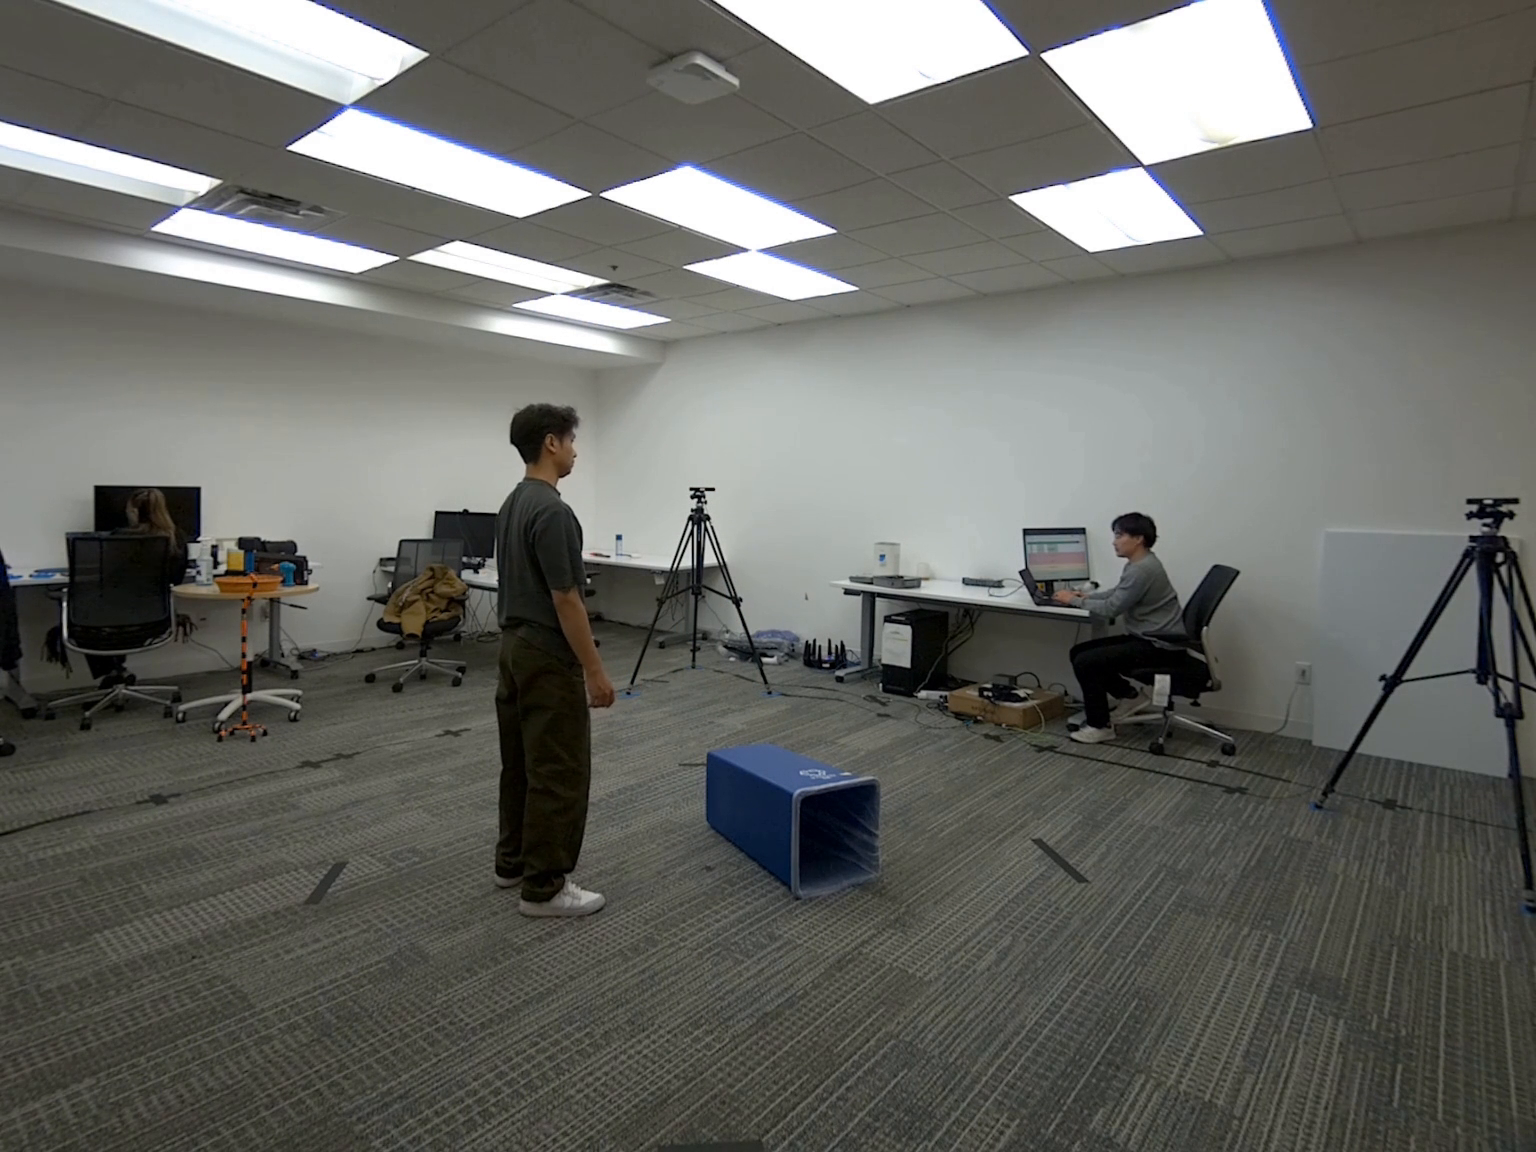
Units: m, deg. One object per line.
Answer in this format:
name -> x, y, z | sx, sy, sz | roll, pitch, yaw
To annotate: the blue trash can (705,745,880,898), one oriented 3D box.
blue trash can -> 0.055, 0.891, 3.271 | 0.368, 0.373, 0.734 | -1, 3, -31
